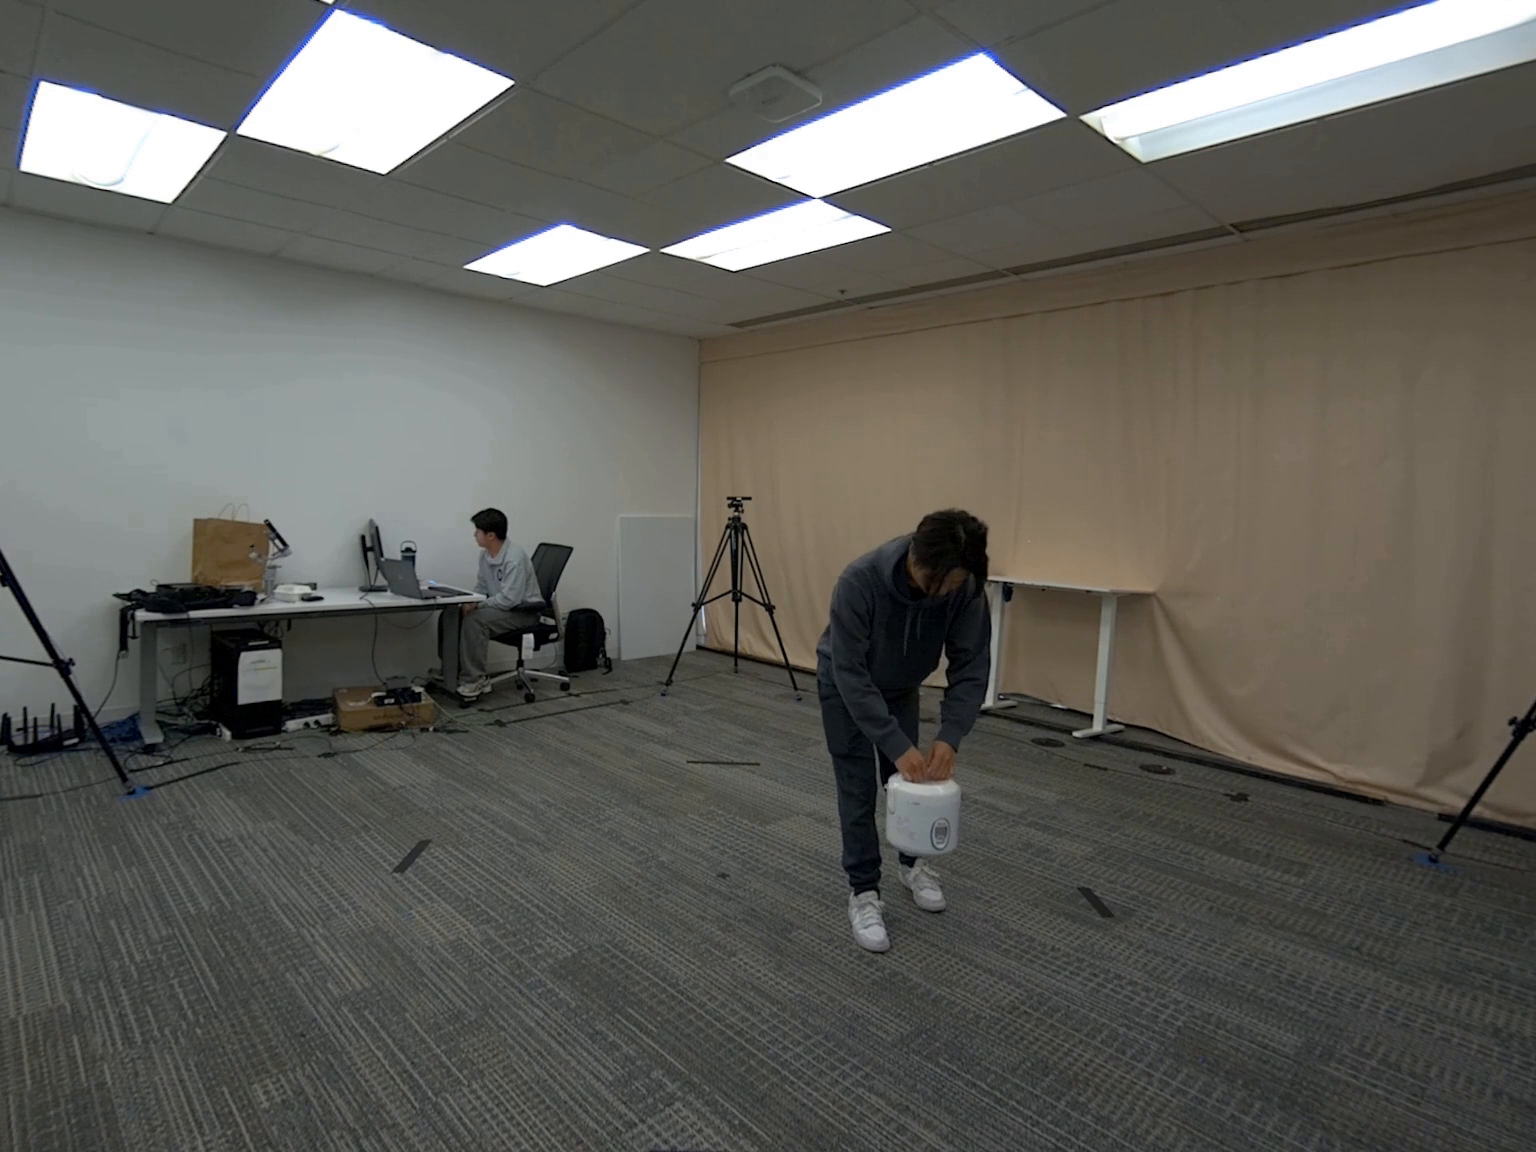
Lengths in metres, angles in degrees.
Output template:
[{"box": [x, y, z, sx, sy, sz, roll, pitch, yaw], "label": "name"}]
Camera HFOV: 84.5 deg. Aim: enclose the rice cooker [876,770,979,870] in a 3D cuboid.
[{"box": [0.444, 0.687, 2.445, 0.218, 0.232, 0.220, 2, 3, -16], "label": "rice cooker"}]
